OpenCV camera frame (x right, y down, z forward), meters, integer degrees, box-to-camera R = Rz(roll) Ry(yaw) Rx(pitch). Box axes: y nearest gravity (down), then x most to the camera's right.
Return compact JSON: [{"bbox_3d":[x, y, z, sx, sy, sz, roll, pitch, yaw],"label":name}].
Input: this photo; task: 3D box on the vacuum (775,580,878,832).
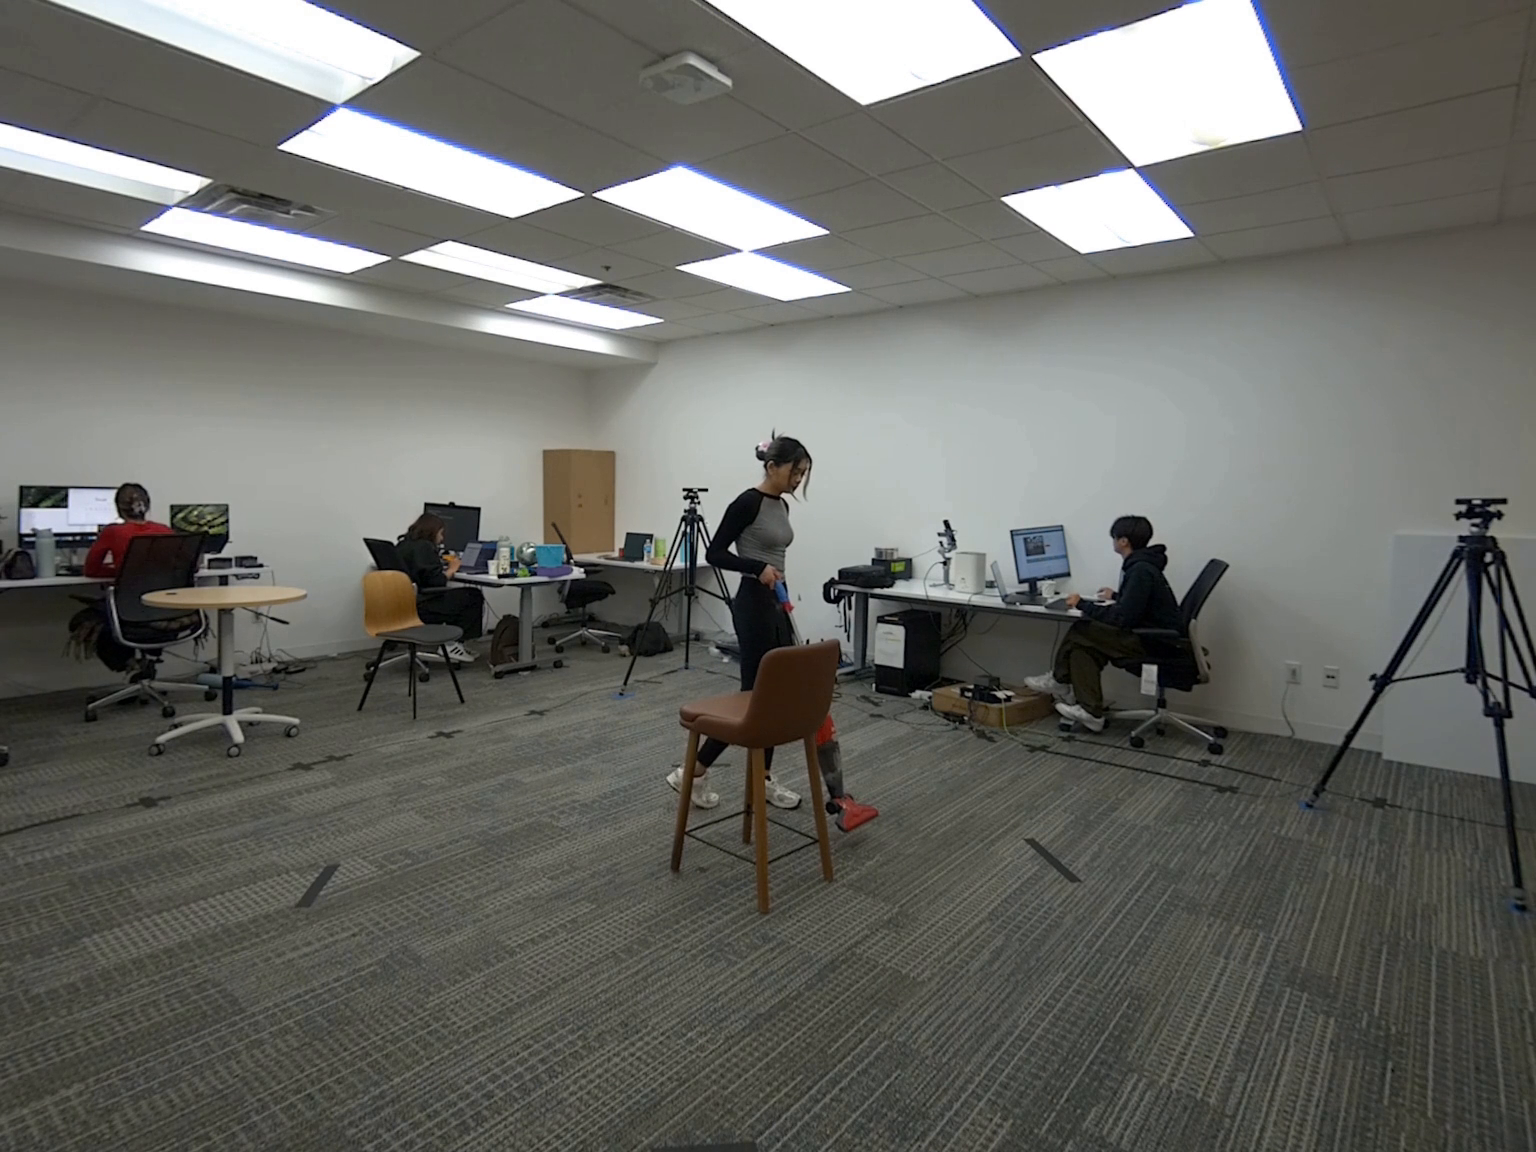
[{"bbox_3d":[0.157,0.450,3.486,0.146,1.066,0.245,-26,-14,29],"label":"vacuum"}]
